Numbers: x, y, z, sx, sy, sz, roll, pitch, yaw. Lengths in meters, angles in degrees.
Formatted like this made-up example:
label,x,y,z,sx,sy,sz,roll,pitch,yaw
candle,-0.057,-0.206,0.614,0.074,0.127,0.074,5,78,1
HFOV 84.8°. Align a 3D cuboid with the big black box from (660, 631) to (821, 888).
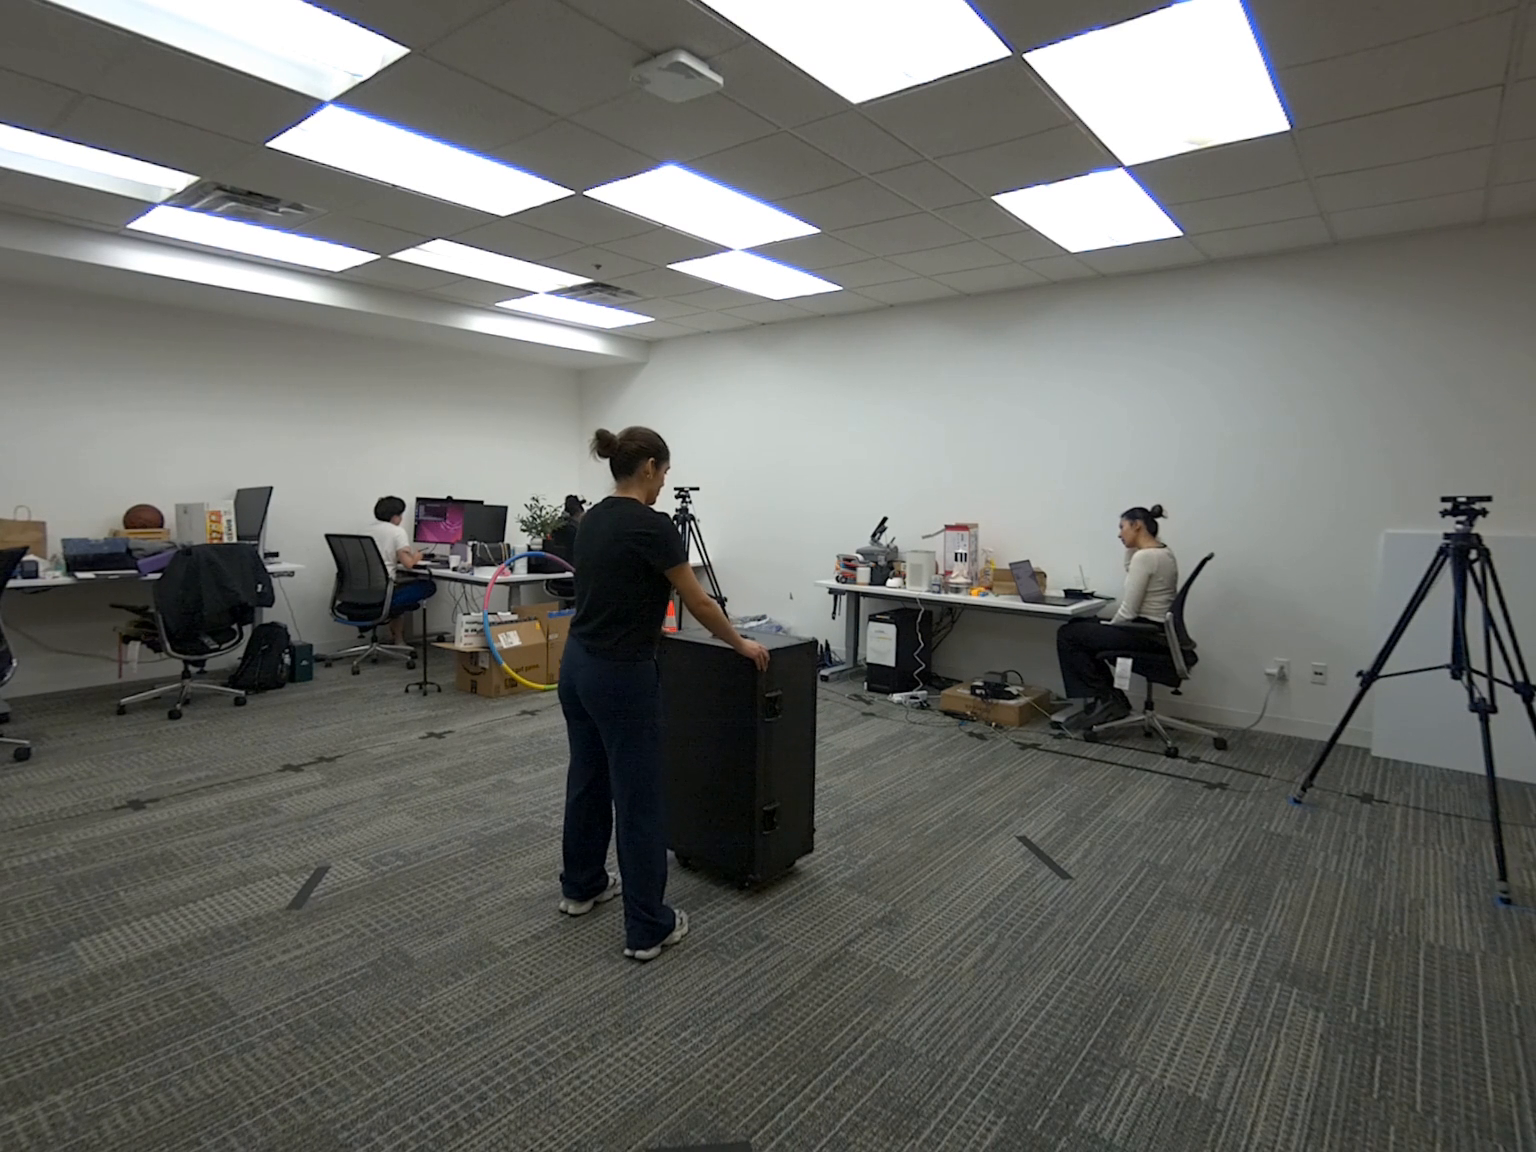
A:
label,x,y,z,sx,sy,sz,roll,pitch,yaw
big black box,-0.103,0.638,3.131,0.539,0.860,0.384,4,3,39
